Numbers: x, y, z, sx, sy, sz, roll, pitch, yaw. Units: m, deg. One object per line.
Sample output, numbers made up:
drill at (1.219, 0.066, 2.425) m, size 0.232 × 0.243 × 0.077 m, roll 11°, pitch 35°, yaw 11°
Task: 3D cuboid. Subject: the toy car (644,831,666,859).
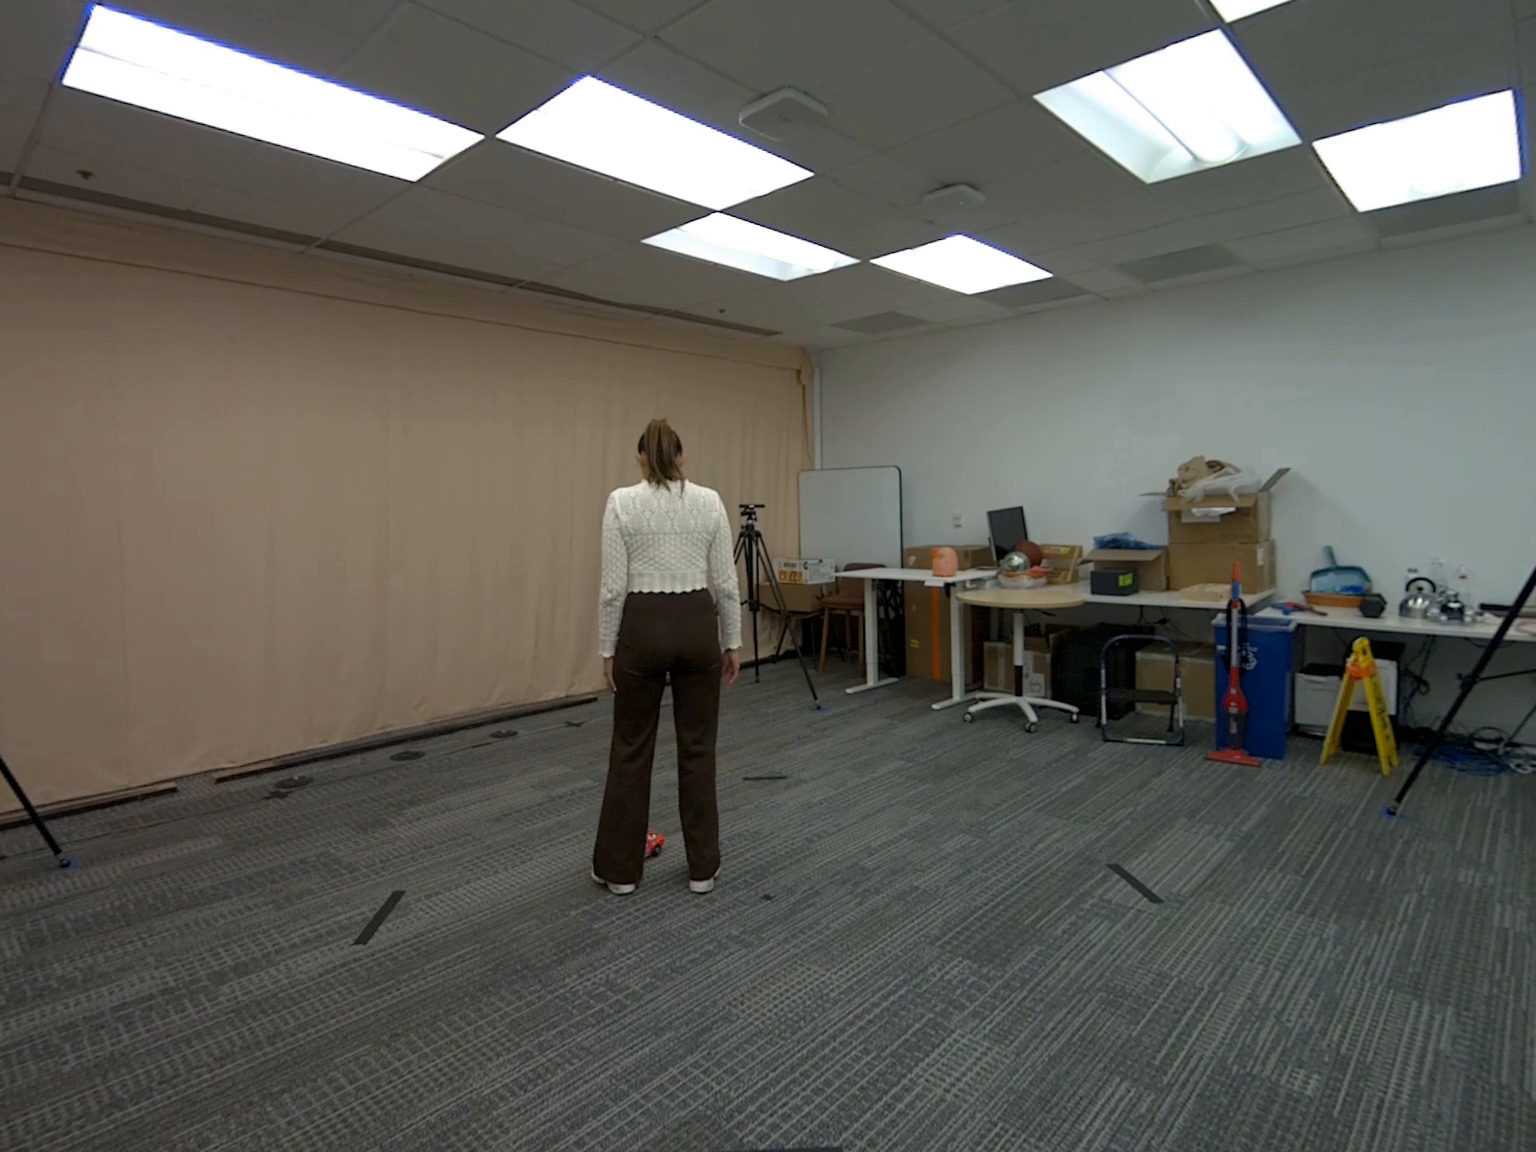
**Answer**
toy car at (-0.516, 1.090, 3.347) m, size 0.134 × 0.082 × 0.249 m, roll 0°, pitch 16°, yaw 37°
